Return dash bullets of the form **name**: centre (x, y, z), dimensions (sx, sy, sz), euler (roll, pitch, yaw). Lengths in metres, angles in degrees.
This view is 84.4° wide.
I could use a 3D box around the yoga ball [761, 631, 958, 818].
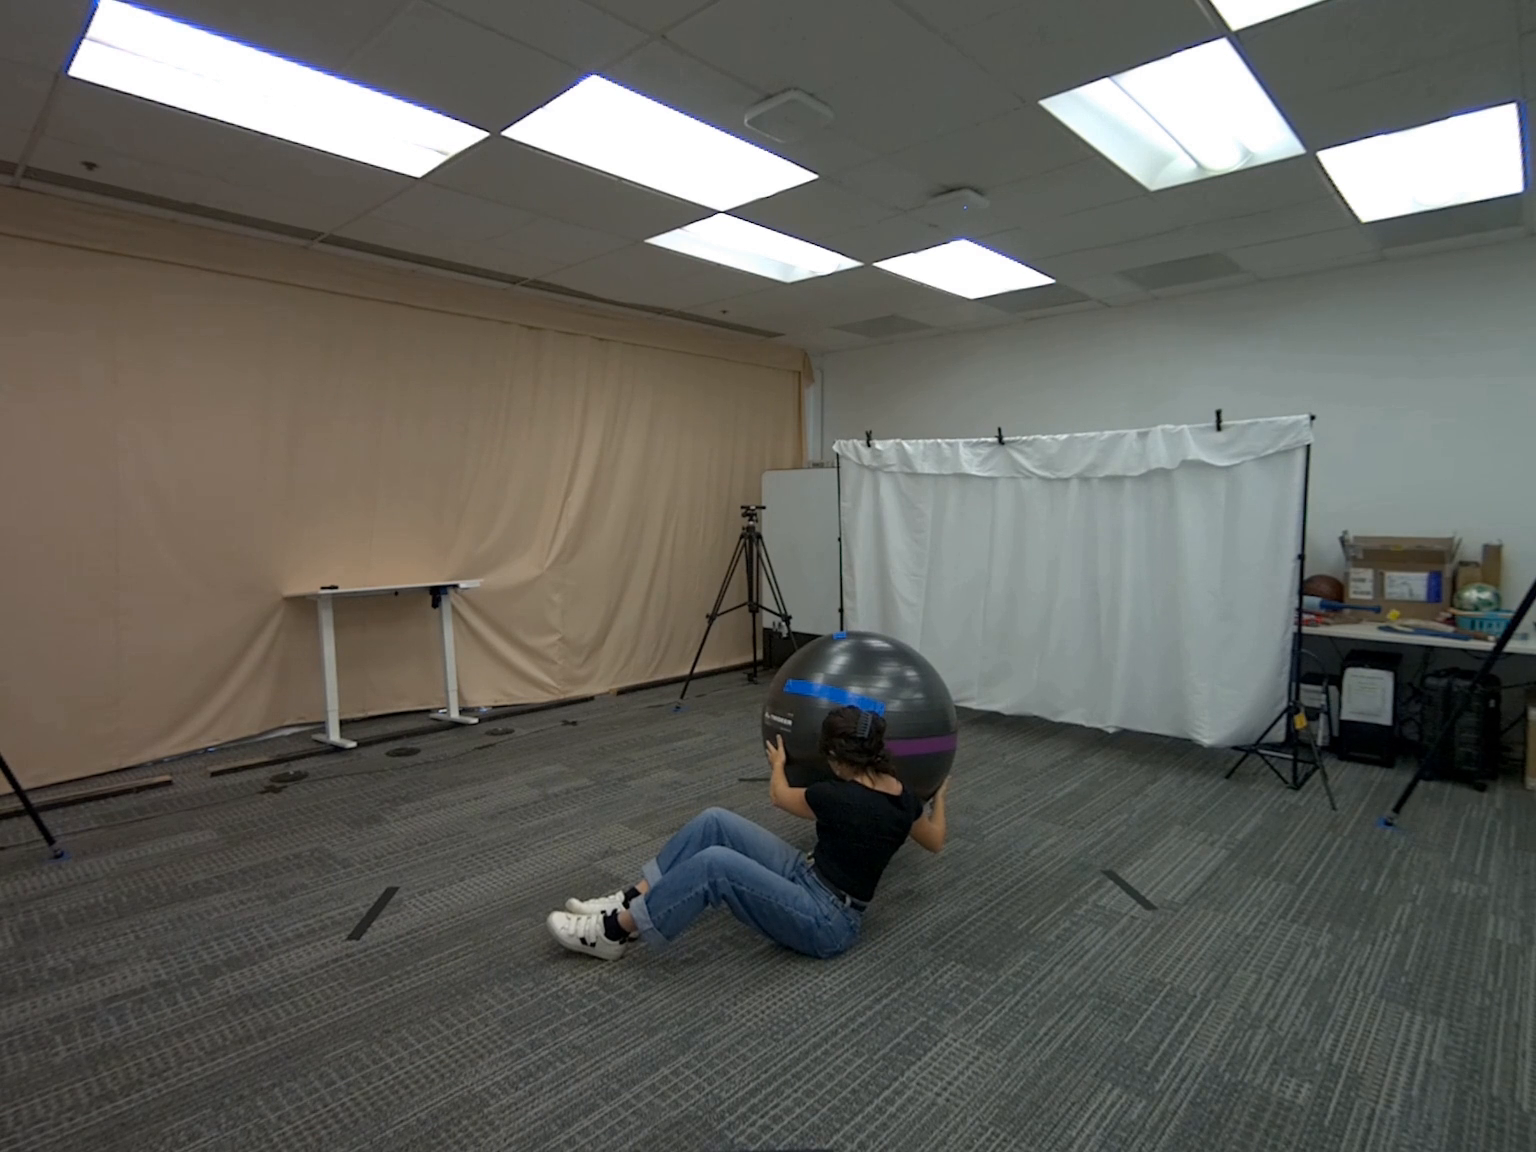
- **yoga ball**: centre (0.361, 0.602, 3.334), dimensions (0.757, 0.756, 0.761), euler (0, 4, -2)
